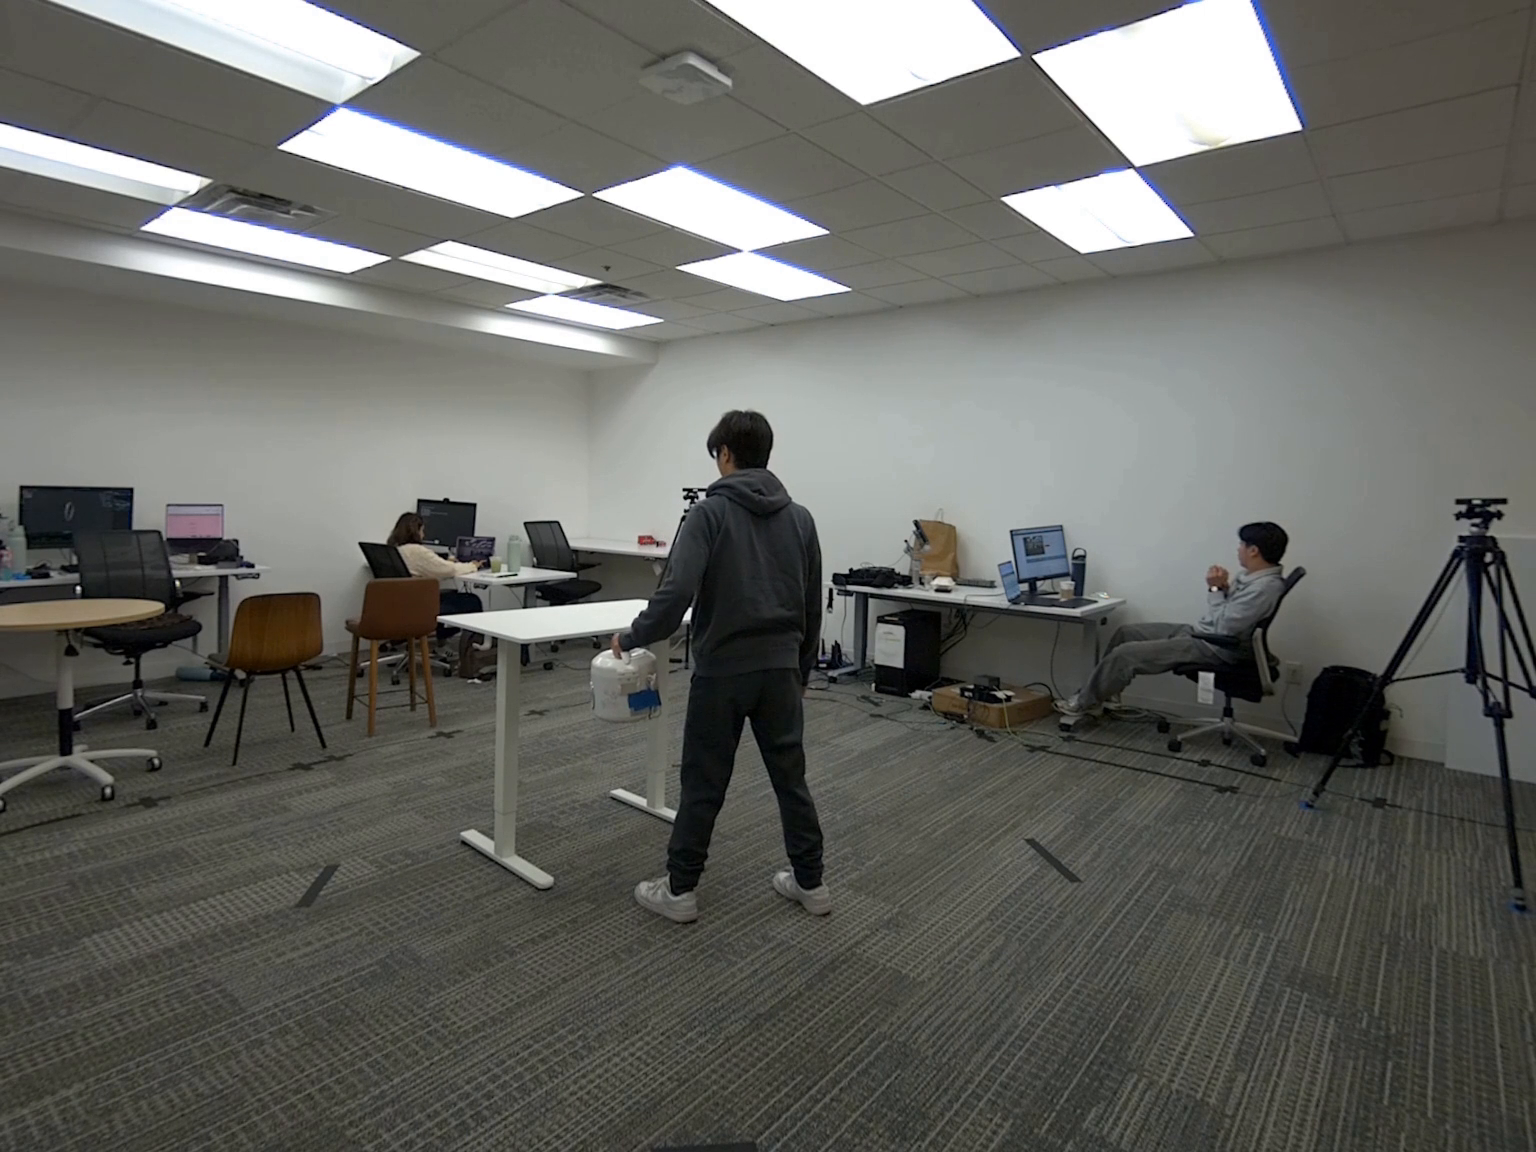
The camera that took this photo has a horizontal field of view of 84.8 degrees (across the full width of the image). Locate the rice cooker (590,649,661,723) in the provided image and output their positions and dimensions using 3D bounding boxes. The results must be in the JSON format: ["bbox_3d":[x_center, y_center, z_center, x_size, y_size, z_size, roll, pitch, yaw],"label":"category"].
[{"bbox_3d":[-0.474,0.335,2.745,0.215,0.231,0.225,-4,9,-13],"label":"rice cooker"}]
